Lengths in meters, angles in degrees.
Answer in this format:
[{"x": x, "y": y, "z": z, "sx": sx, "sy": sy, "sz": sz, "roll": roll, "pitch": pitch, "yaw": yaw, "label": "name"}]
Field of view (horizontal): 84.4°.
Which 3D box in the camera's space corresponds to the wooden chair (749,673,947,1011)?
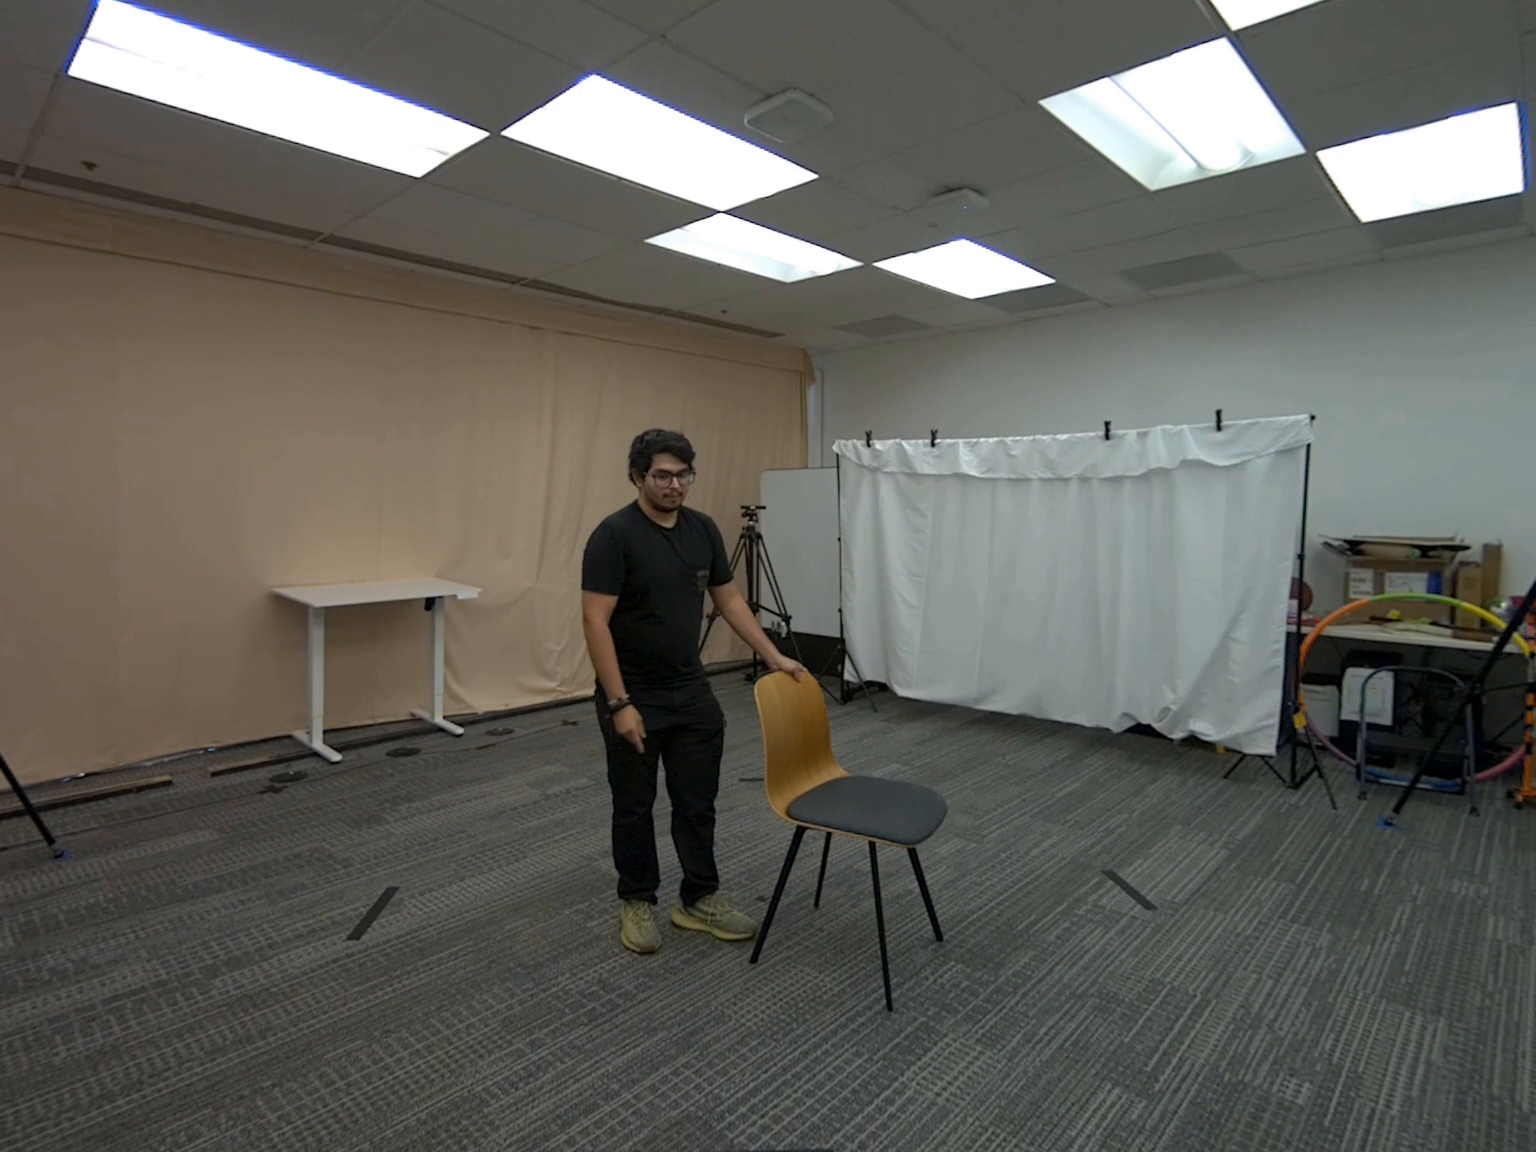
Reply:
[{"x": 0.264, "y": 0.747, "z": 2.595, "sx": 0.538, "sy": 0.877, "sz": 0.465, "roll": -3, "pitch": 1, "yaw": 32, "label": "wooden chair"}]
